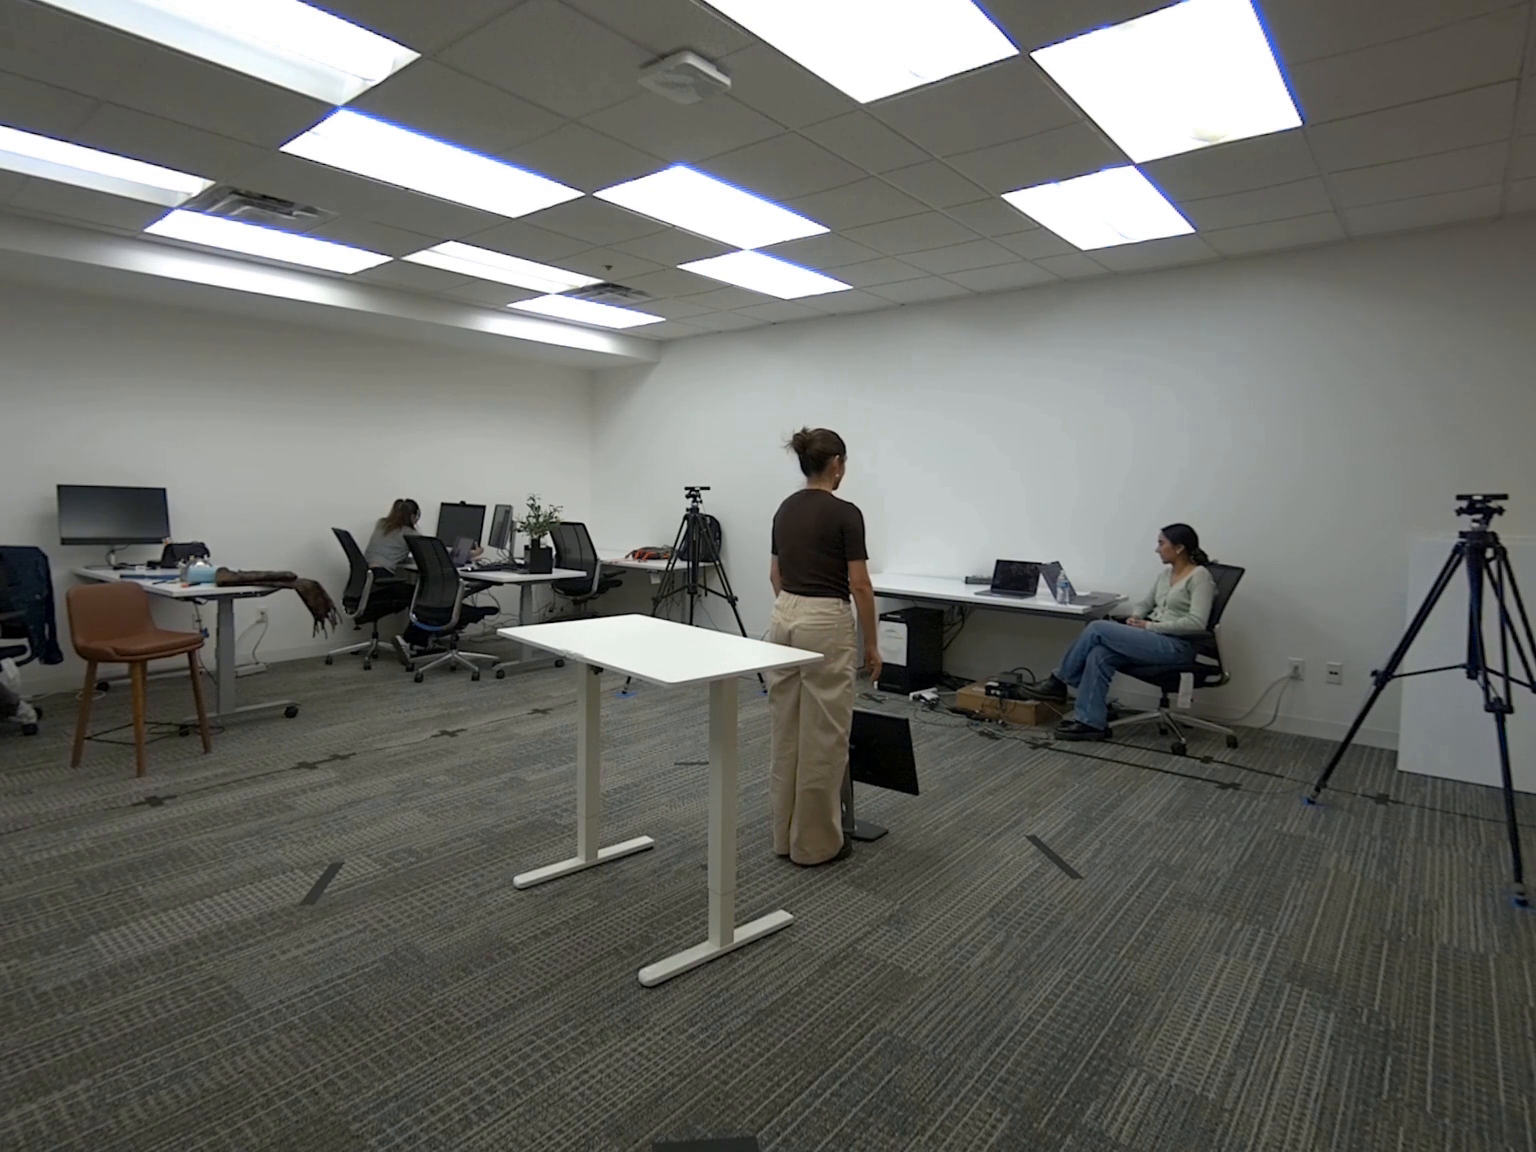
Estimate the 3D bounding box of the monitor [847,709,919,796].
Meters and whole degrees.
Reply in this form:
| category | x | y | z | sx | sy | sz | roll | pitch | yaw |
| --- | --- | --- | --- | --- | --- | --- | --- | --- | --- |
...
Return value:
| category | x | y | z | sx | sy | sz | roll | pitch | yaw |
| --- | --- | --- | --- | --- | --- | --- | --- | --- | --- |
| monitor | 0.325 | 0.783 | 3.473 | 0.556 | 0.520 | 0.182 | 3 | 6 | 35 |
